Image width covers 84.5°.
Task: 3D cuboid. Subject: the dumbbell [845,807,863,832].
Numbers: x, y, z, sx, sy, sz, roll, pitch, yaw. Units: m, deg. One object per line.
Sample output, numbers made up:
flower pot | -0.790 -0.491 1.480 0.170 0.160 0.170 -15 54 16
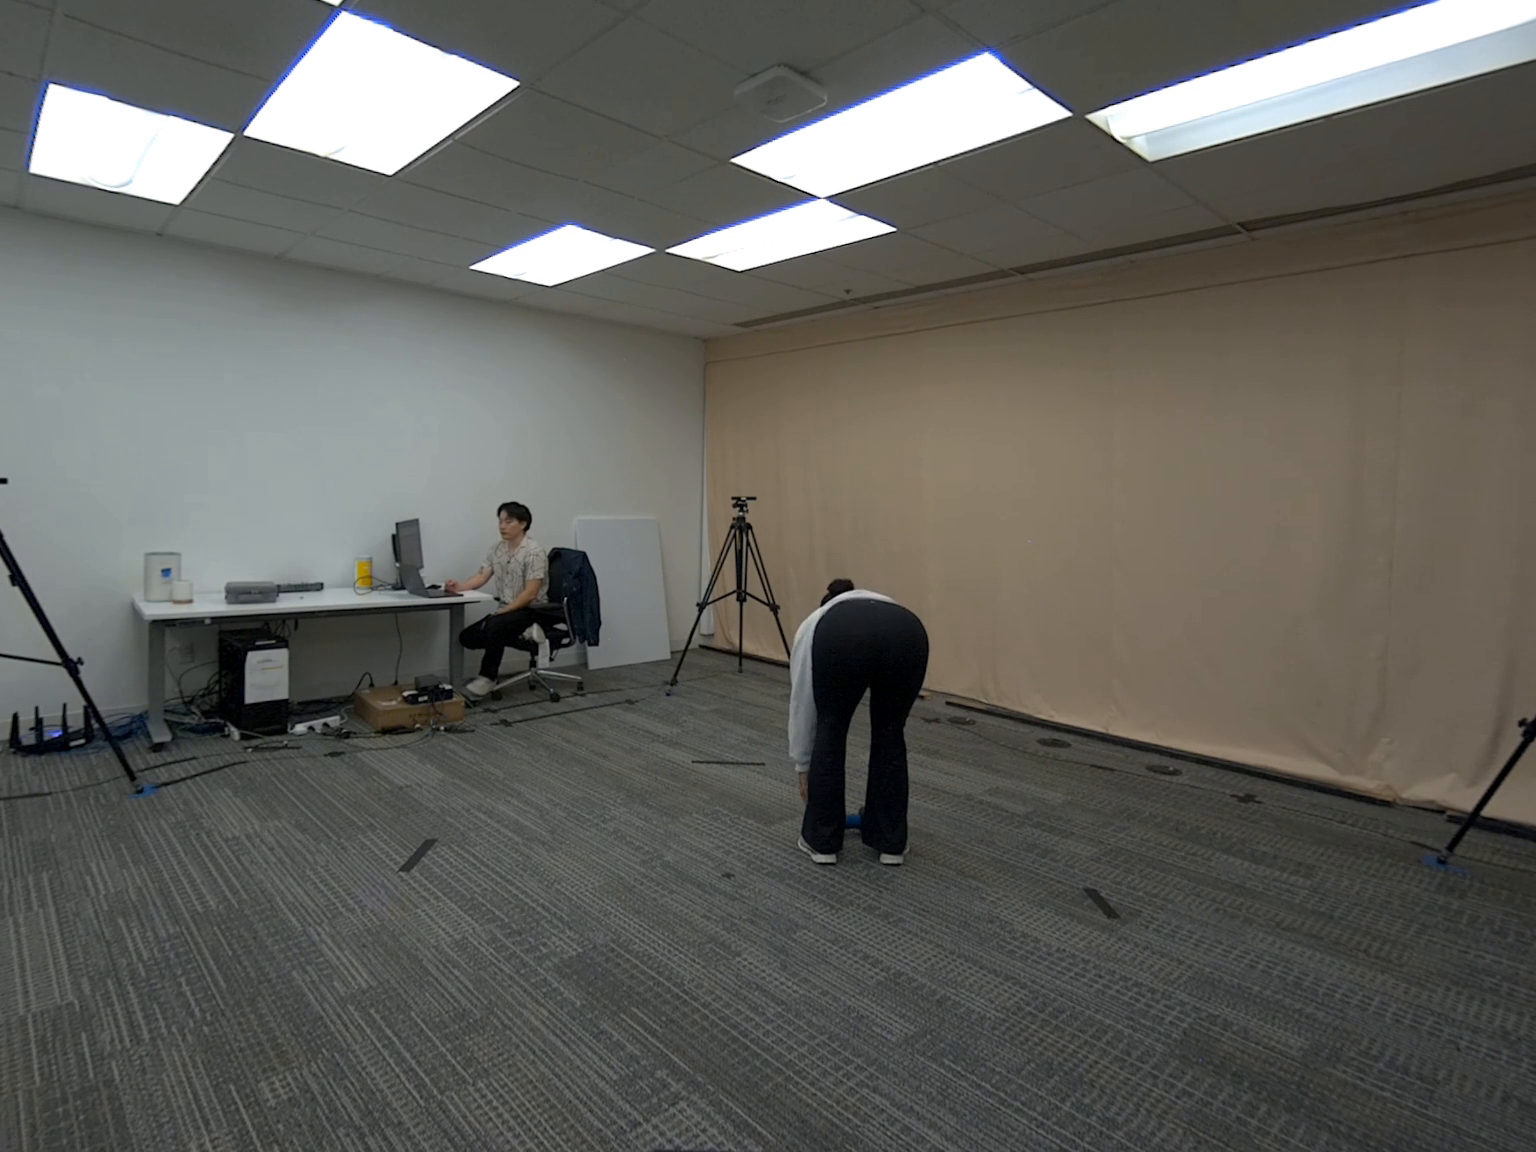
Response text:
dumbbell | 0.324 1.034 3.516 0.292 0.121 0.111 1 34 -8
